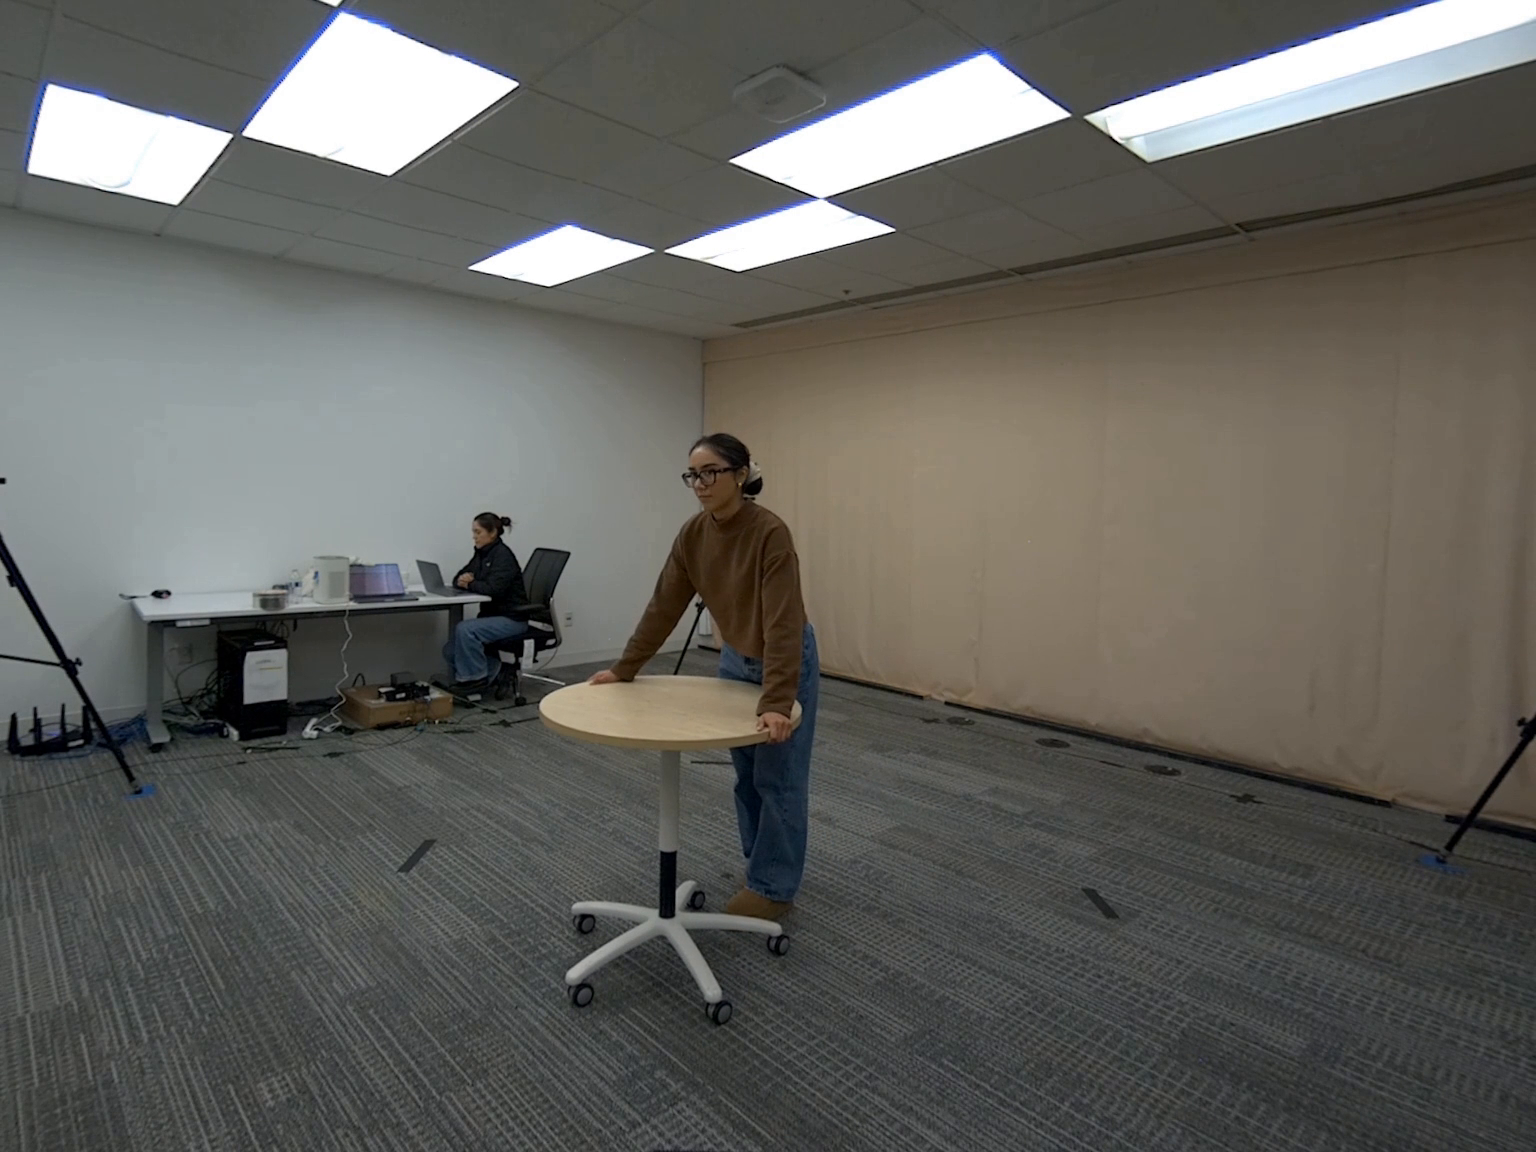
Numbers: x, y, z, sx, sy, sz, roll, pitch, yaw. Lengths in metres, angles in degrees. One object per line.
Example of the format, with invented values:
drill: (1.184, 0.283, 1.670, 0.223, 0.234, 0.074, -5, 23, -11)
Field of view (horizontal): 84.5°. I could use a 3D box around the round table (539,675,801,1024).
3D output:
round table: (-0.299, 0.769, 2.489, 0.784, 0.784, 0.787, 1, 4, -1)
